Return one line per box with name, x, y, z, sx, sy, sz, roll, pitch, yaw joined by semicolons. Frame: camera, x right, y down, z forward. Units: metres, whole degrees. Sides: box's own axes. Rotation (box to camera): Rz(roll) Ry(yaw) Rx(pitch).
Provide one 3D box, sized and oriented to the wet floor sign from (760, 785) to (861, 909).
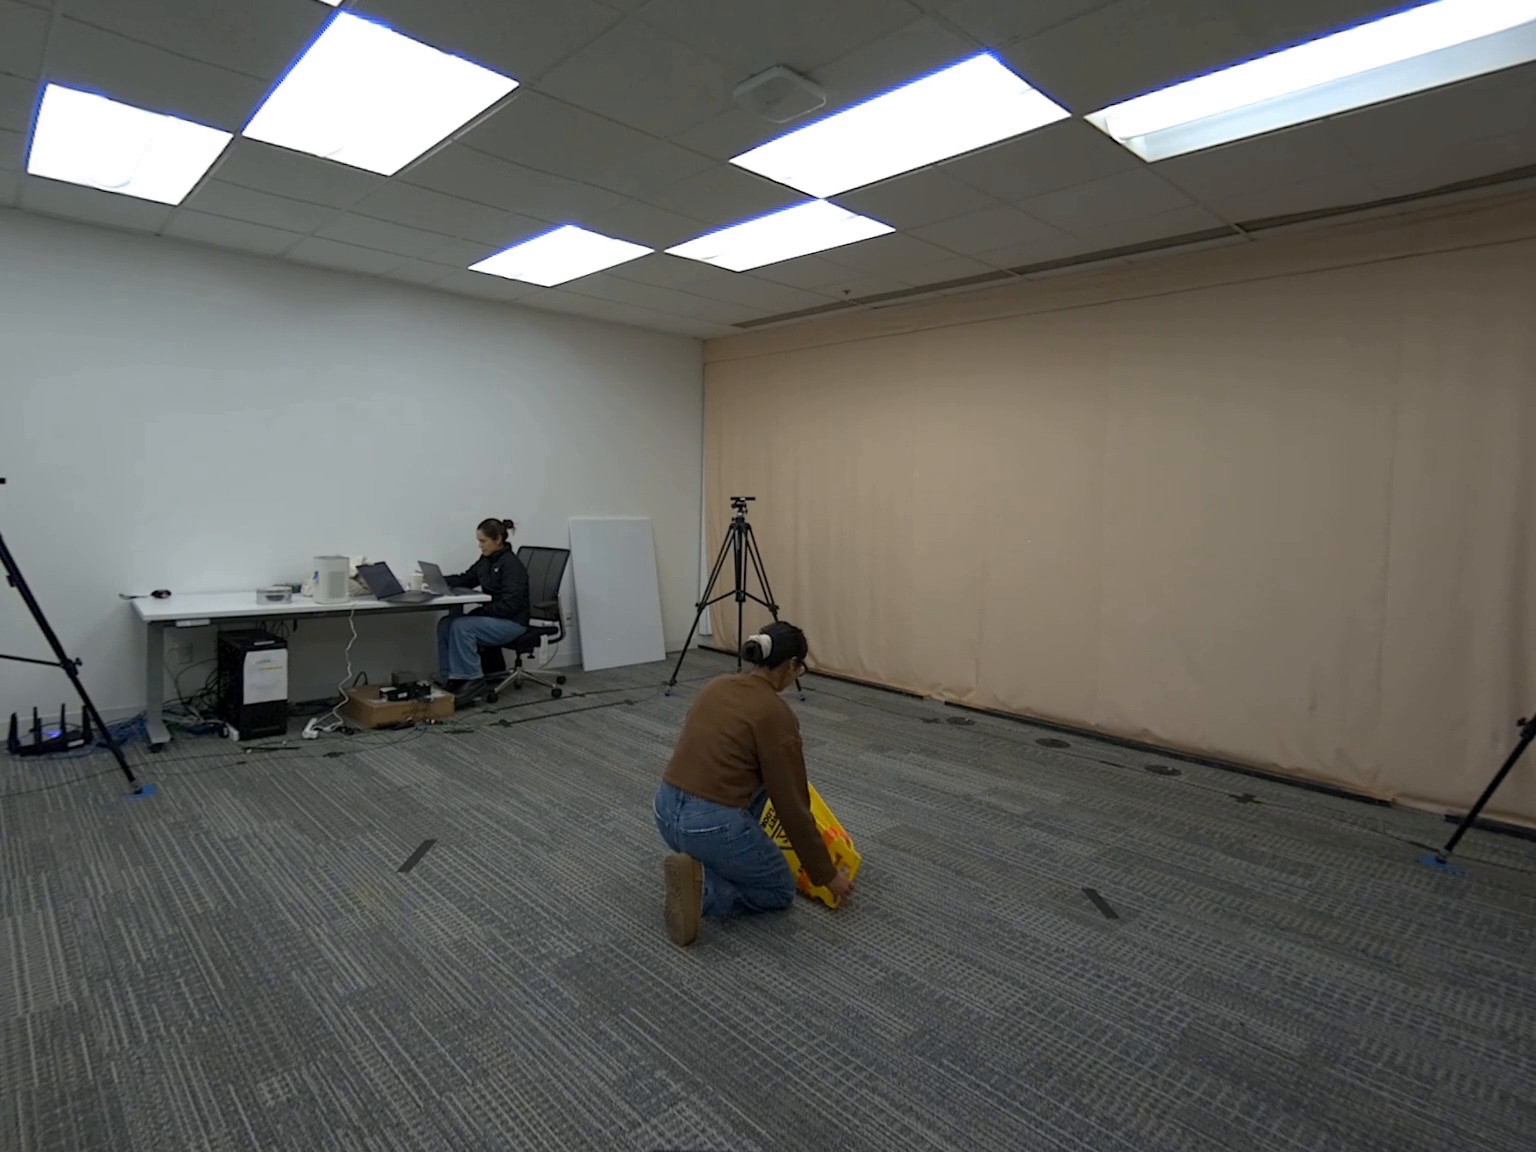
wet floor sign;0.117;0.977;3.137;0.282;0.282;0.662;30;-2;-29
